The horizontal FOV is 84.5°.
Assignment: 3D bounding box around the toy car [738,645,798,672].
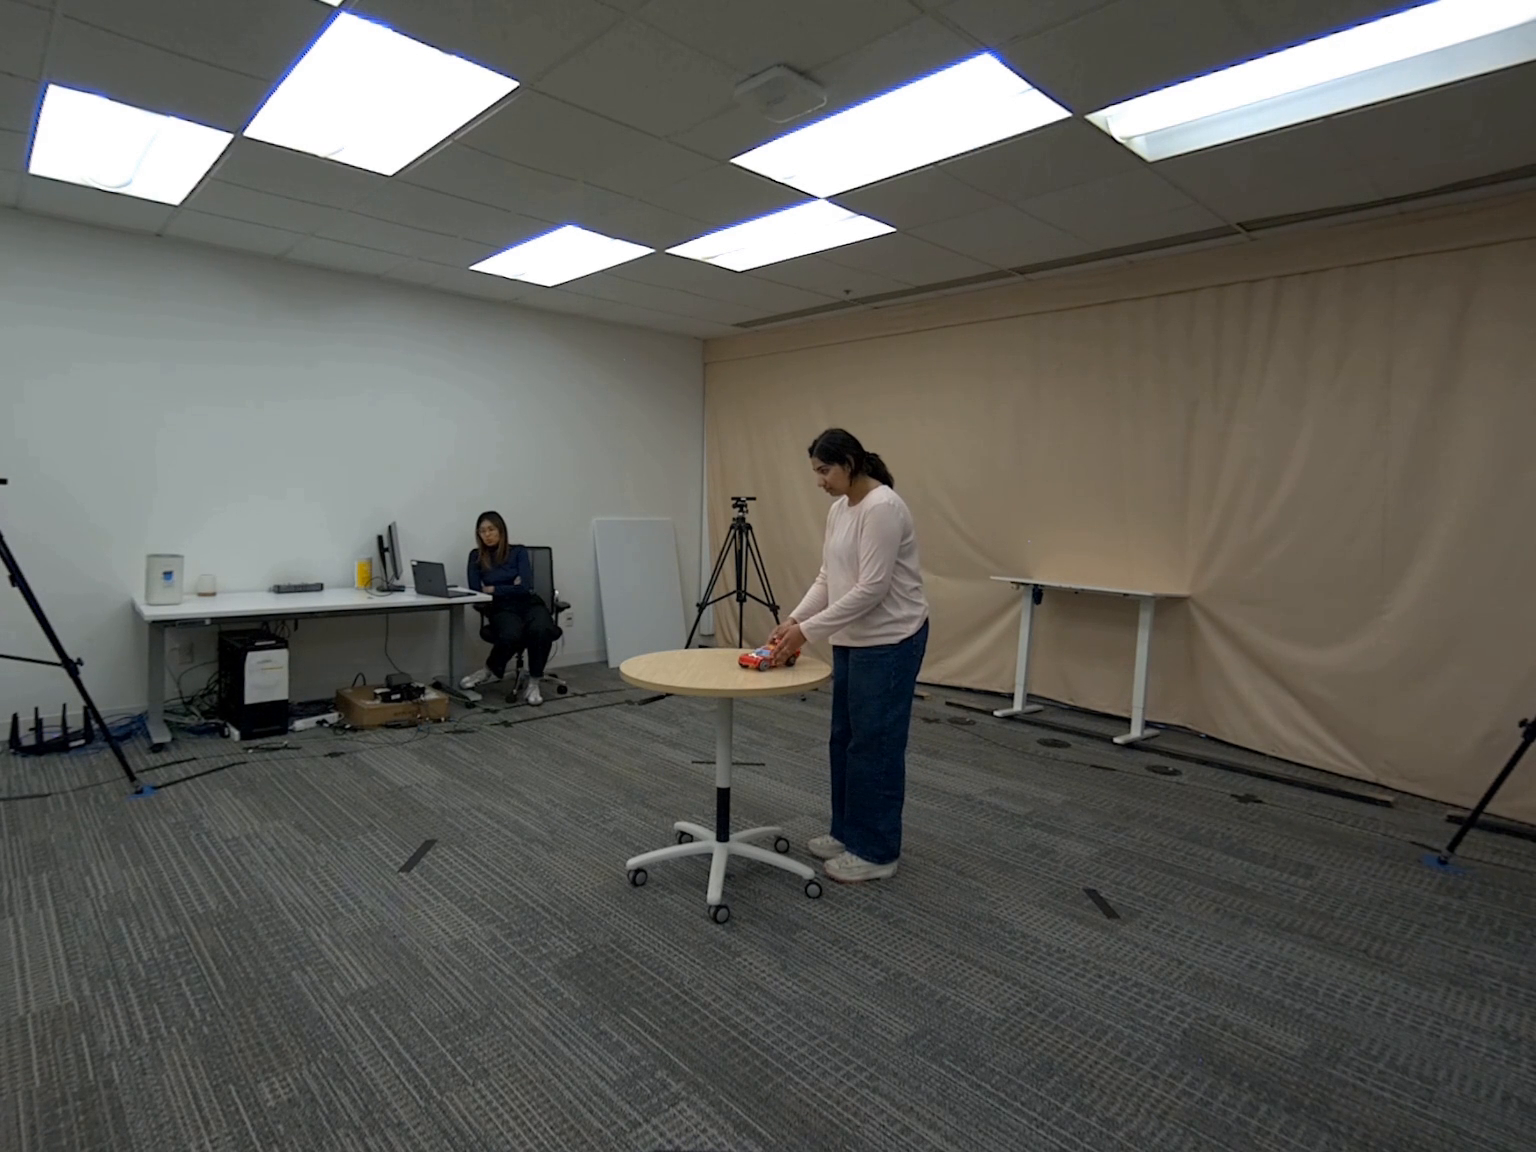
[{"bbox_3d":[0.011,0.298,3.063,0.250,0.082,0.133,-17,14,-42],"label":"toy car"}]
